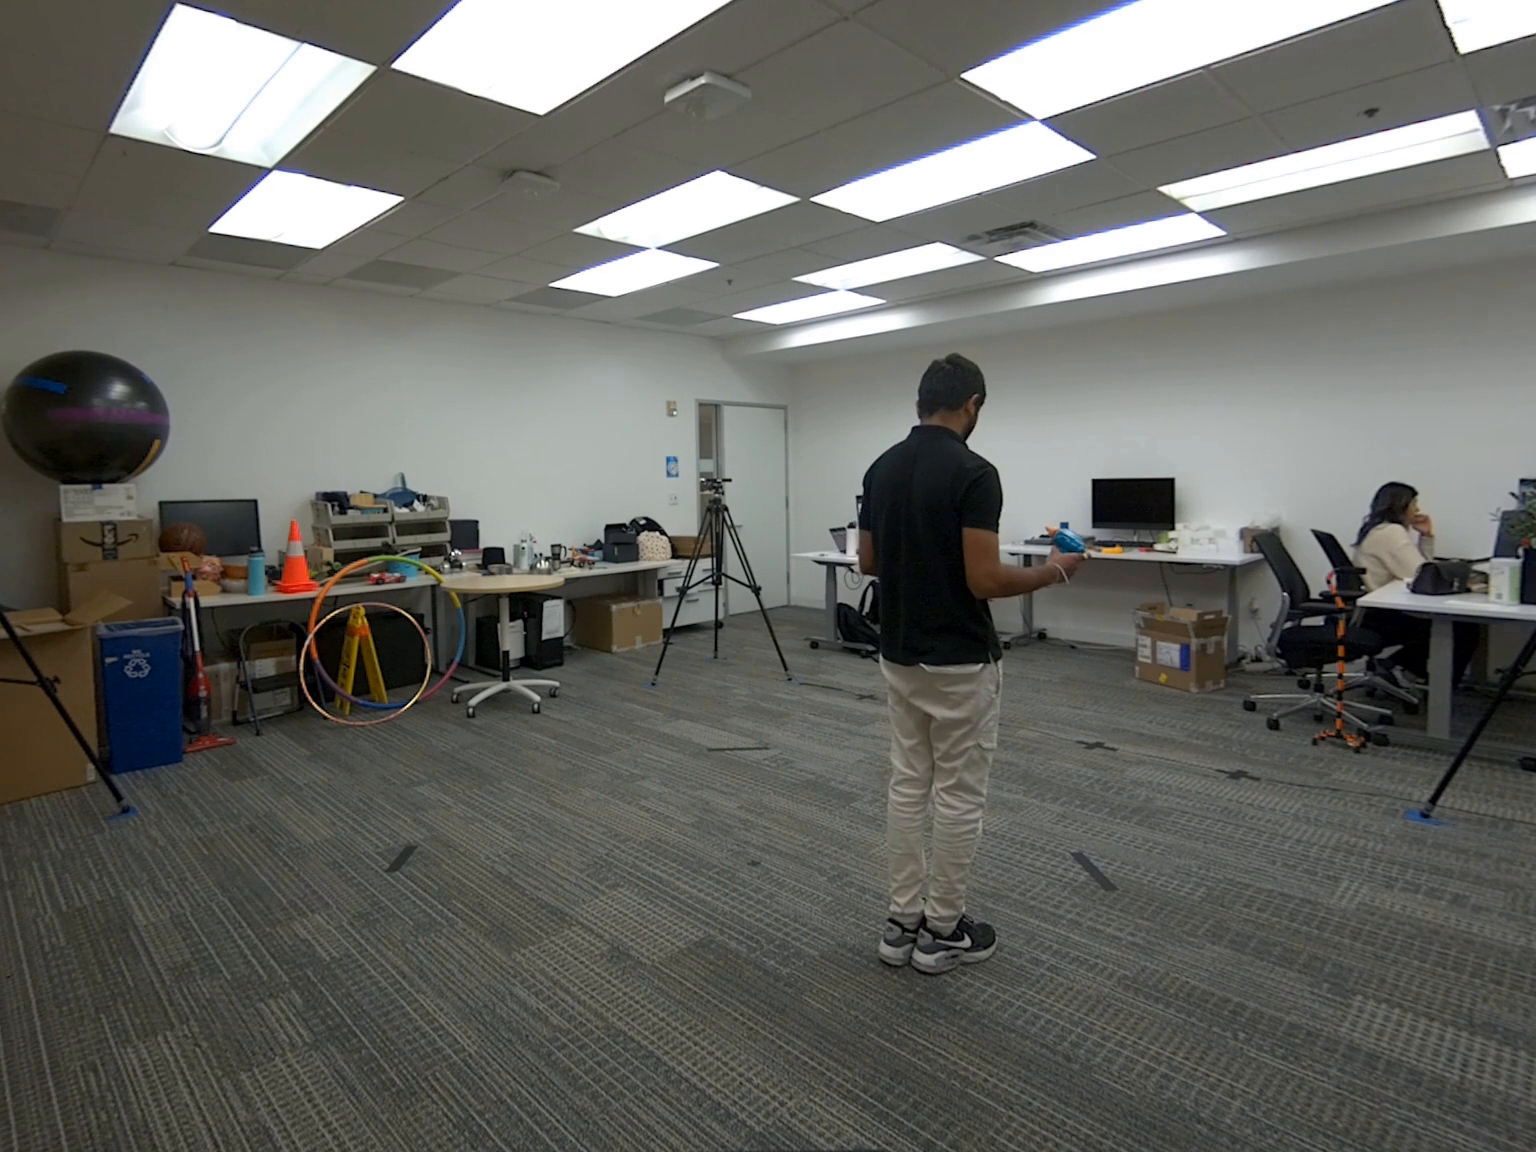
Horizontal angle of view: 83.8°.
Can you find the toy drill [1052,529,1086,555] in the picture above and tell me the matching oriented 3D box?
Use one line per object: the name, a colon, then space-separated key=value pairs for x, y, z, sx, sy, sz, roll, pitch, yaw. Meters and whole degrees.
toy drill: x=0.829 y=-0.084 z=2.459 sx=0.146 sy=0.059 sz=0.176 roll=-34 pitch=34 yaw=-1
